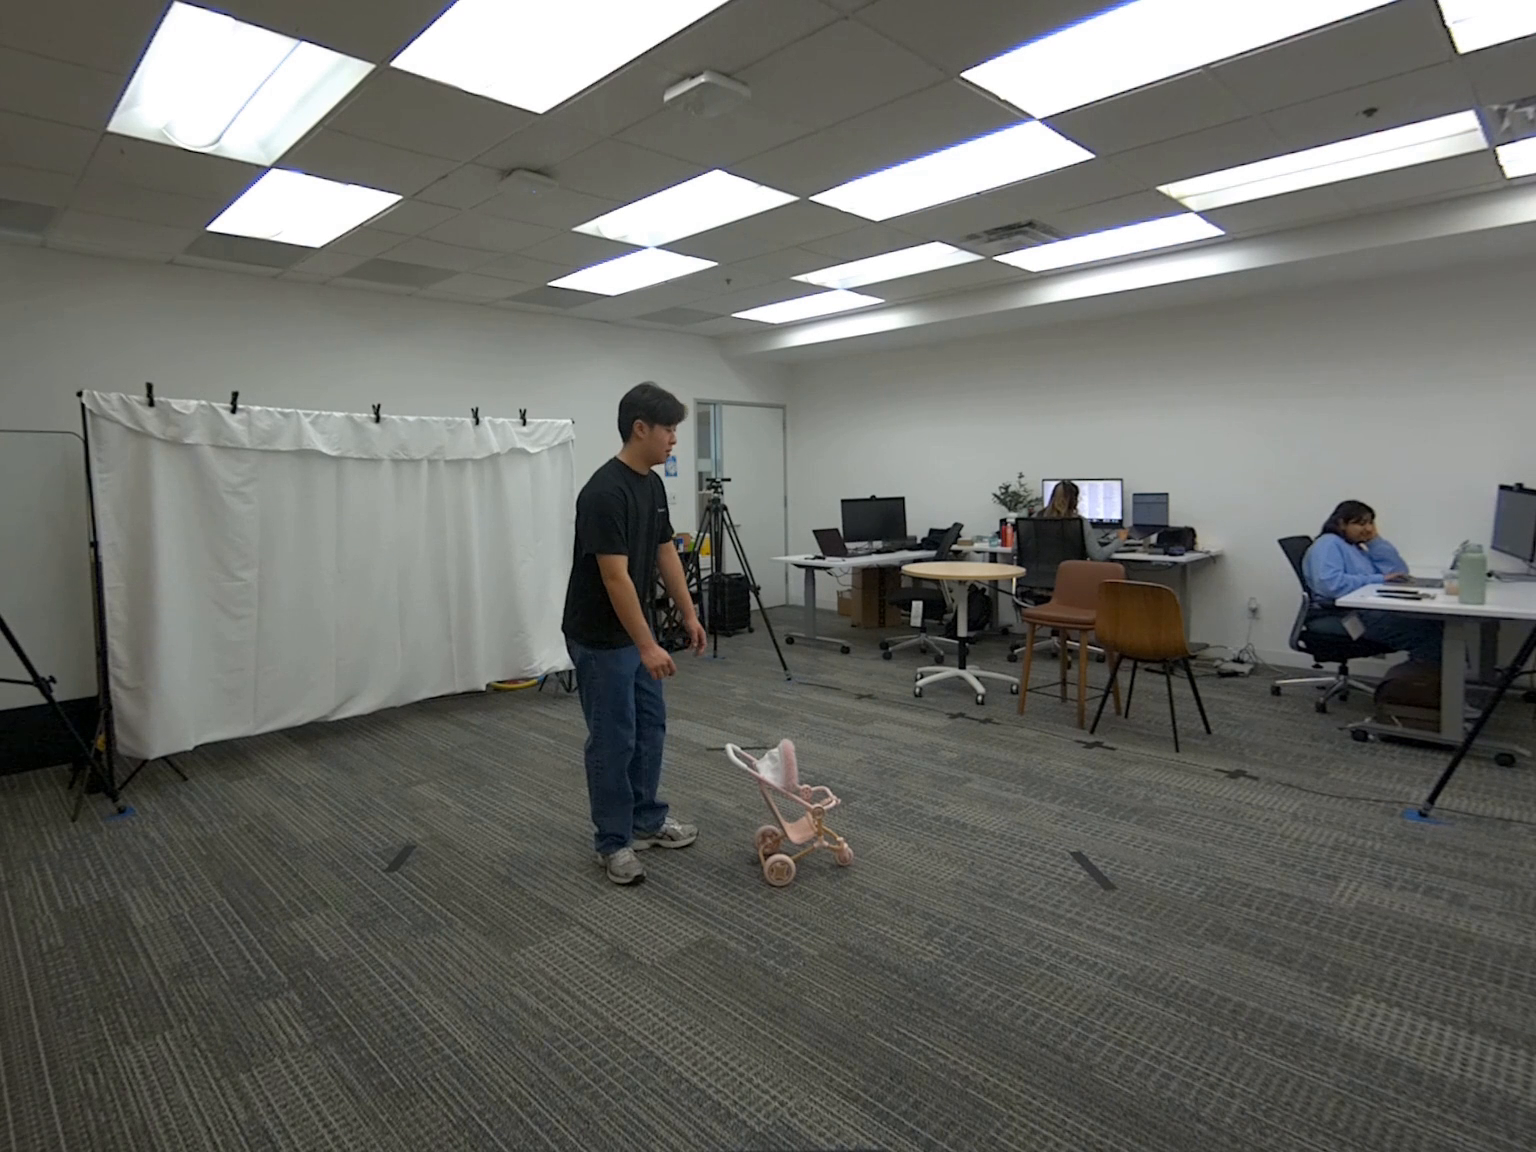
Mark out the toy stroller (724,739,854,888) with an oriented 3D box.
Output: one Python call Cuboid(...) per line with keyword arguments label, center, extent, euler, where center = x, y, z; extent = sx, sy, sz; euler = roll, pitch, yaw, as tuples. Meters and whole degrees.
Cuboid(label="toy stroller", center=(0.089, 0.818, 3.039), extent=(0.341, 0.532, 0.283), euler=(-15, 5, -2))
